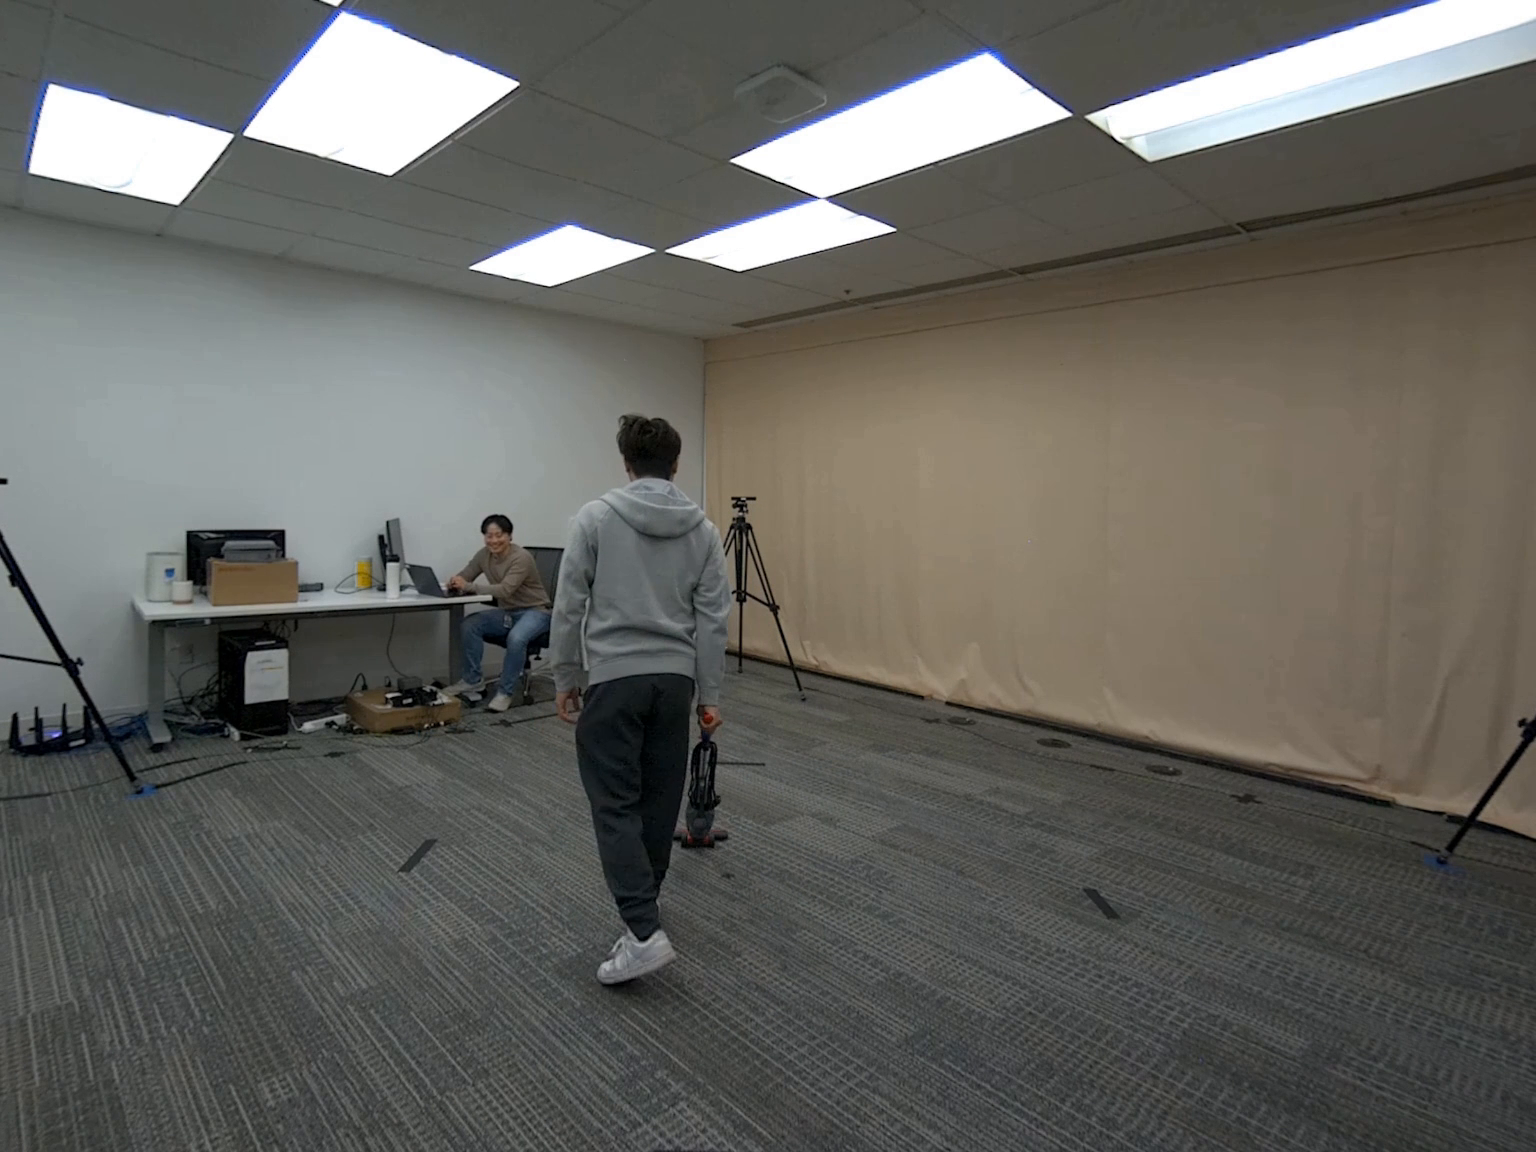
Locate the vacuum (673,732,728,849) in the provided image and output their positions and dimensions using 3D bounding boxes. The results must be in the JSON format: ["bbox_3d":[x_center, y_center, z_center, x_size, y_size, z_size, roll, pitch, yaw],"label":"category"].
[{"bbox_3d":[-0.236,0.760,2.998,0.252,0.147,1.031,5,-37,-4],"label":"vacuum"}]
